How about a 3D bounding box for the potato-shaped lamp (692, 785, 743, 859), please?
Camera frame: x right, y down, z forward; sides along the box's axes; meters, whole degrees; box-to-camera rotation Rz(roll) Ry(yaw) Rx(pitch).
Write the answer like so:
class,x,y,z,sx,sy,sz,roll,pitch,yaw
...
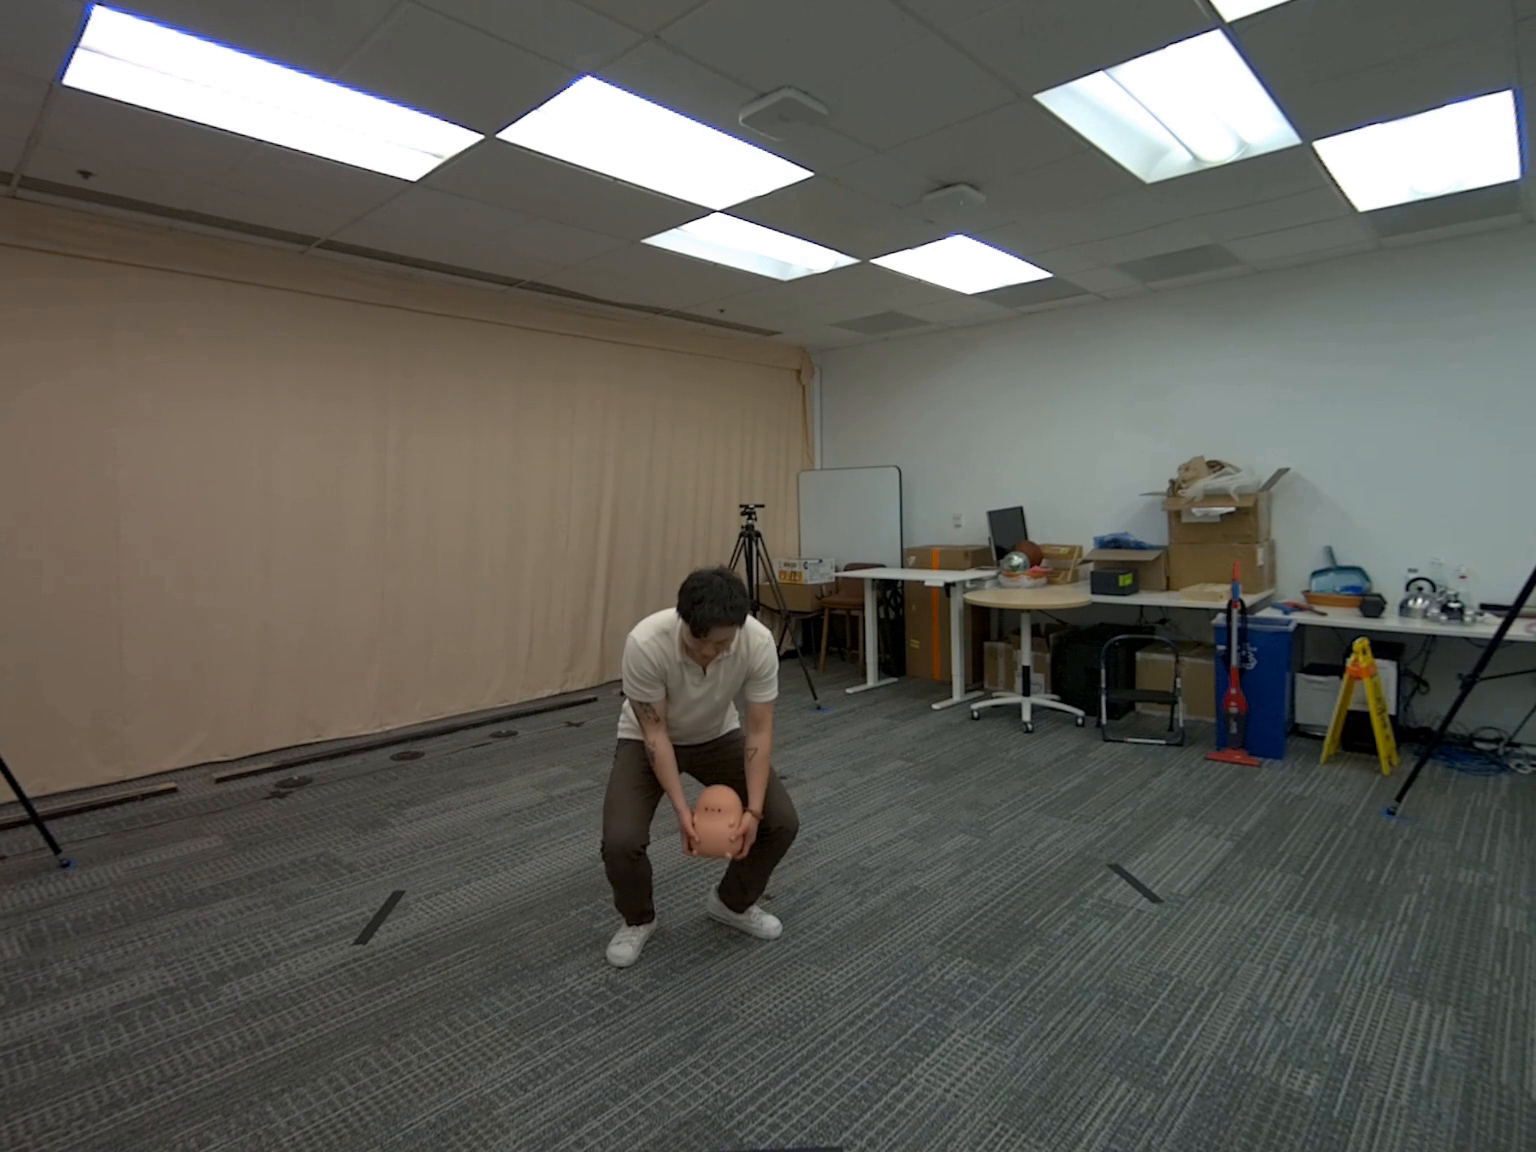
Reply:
class,x,y,z,sx,sy,sz,roll,pitch,yaw
potato-shaped lamp,-0.148,0.722,2.502,0.168,0.198,0.168,3,0,15
